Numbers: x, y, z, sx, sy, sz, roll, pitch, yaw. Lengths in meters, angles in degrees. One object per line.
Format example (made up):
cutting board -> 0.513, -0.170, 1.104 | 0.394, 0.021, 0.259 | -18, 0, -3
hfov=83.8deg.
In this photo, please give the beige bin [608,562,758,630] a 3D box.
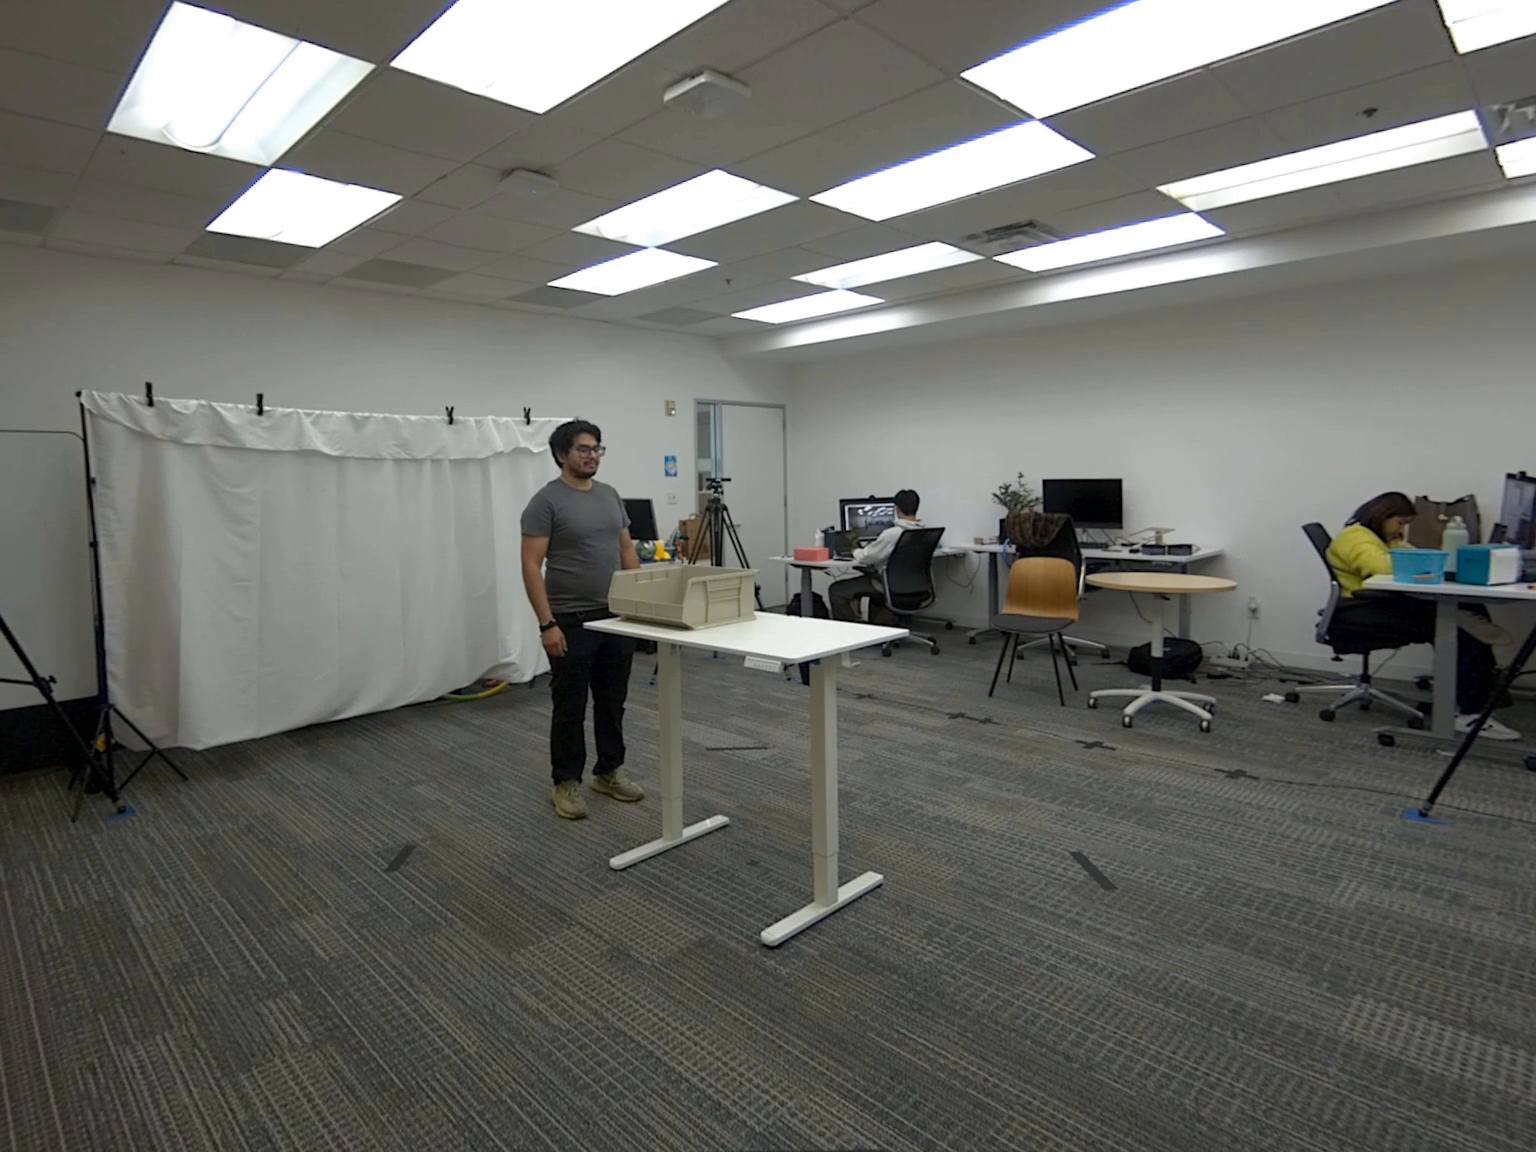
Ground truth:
beige bin -> -0.309, 0.073, 3.133 | 0.435, 0.188, 0.367 | 4, 6, 44
